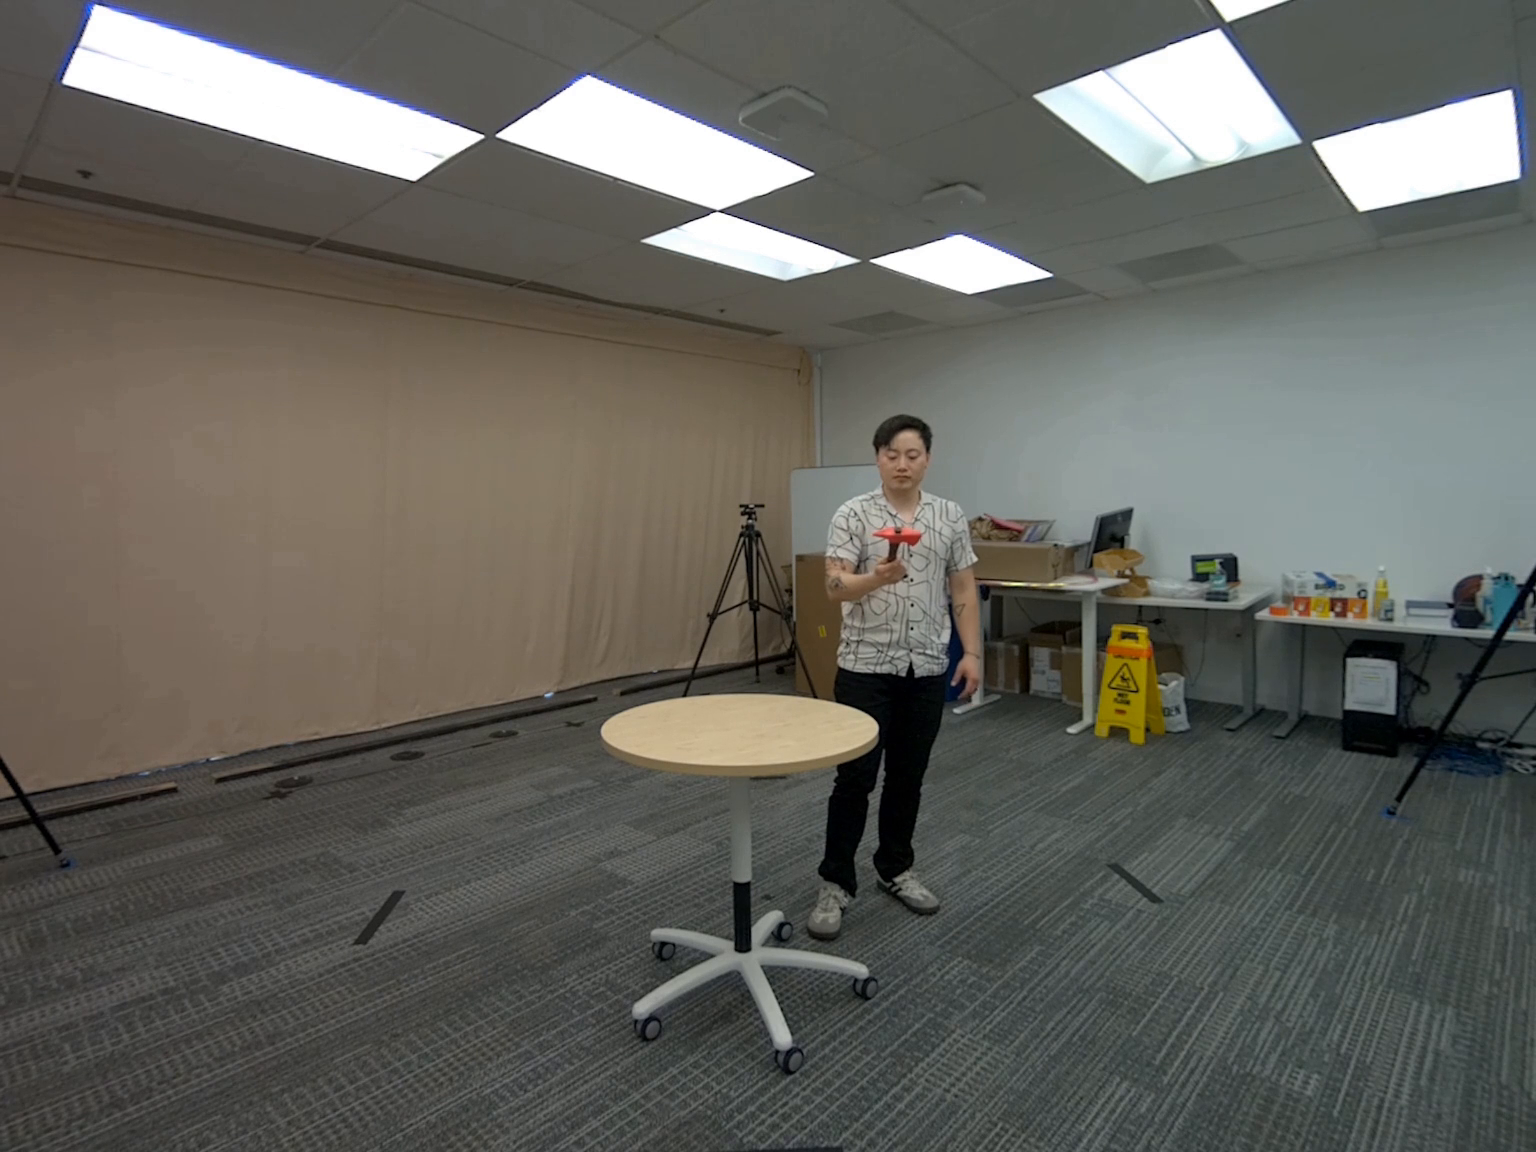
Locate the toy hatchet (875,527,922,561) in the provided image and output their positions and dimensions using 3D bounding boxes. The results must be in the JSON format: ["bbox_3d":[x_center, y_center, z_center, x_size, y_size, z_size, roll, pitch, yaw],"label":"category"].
[{"bbox_3d":[0.386,-0.070,2.437,0.134,0.030,0.261,-10,-32,24],"label":"toy hatchet"}]
